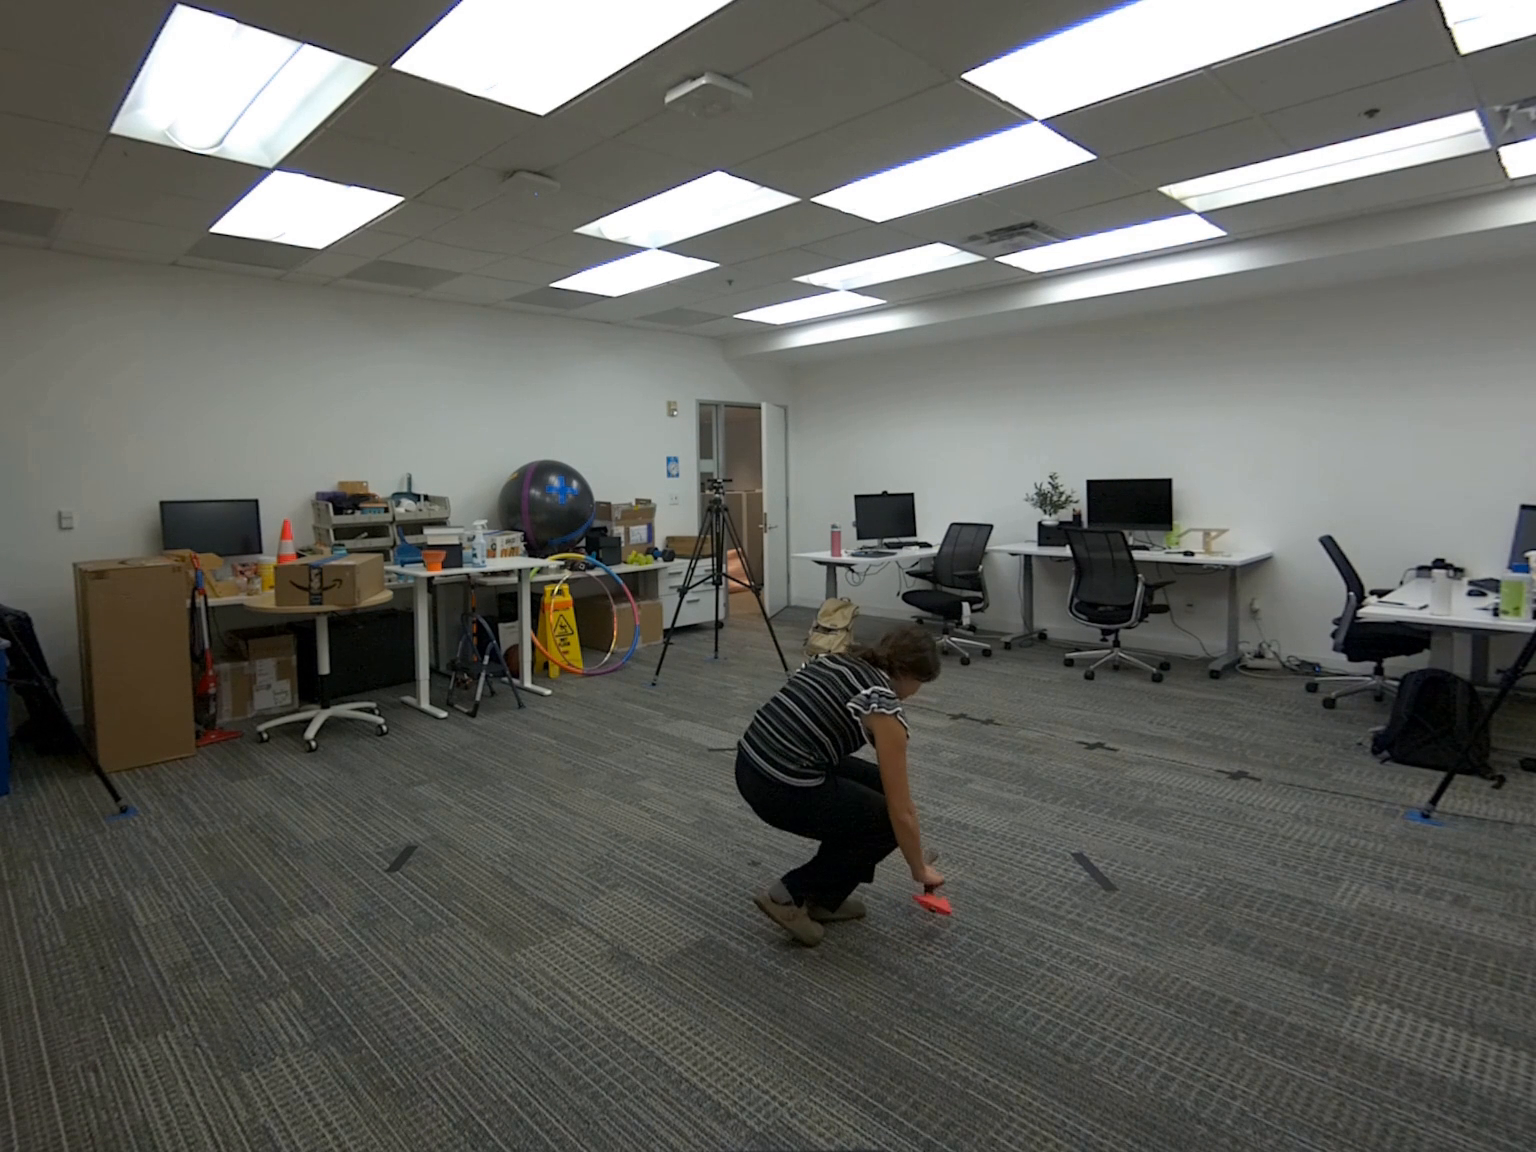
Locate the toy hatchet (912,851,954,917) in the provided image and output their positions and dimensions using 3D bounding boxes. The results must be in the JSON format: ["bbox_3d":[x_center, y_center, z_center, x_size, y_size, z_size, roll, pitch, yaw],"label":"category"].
[{"bbox_3d":[0.518,0.975,2.671,0.134,0.029,0.265,24,13,17],"label":"toy hatchet"}]
